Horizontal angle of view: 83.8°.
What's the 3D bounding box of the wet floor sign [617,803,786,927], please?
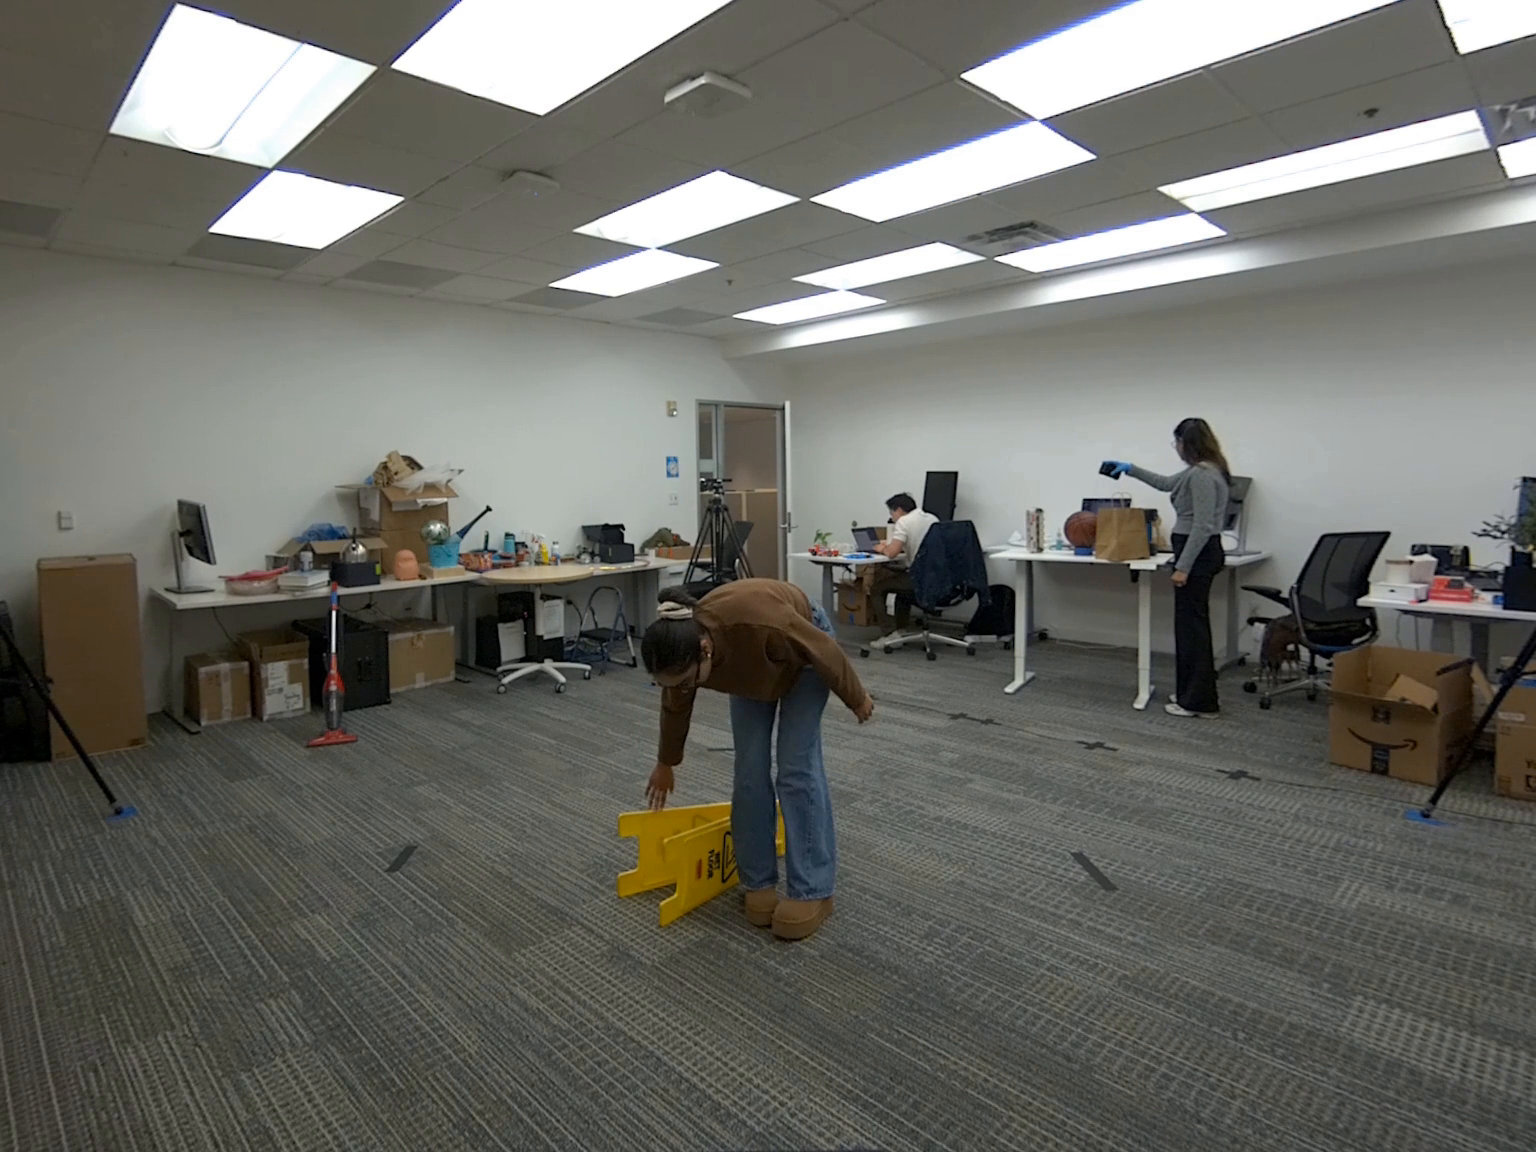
[{"bbox_3d":[-0.179,0.936,2.968,0.628,0.281,0.298,-3,5,-40],"label":"wet floor sign"}]
